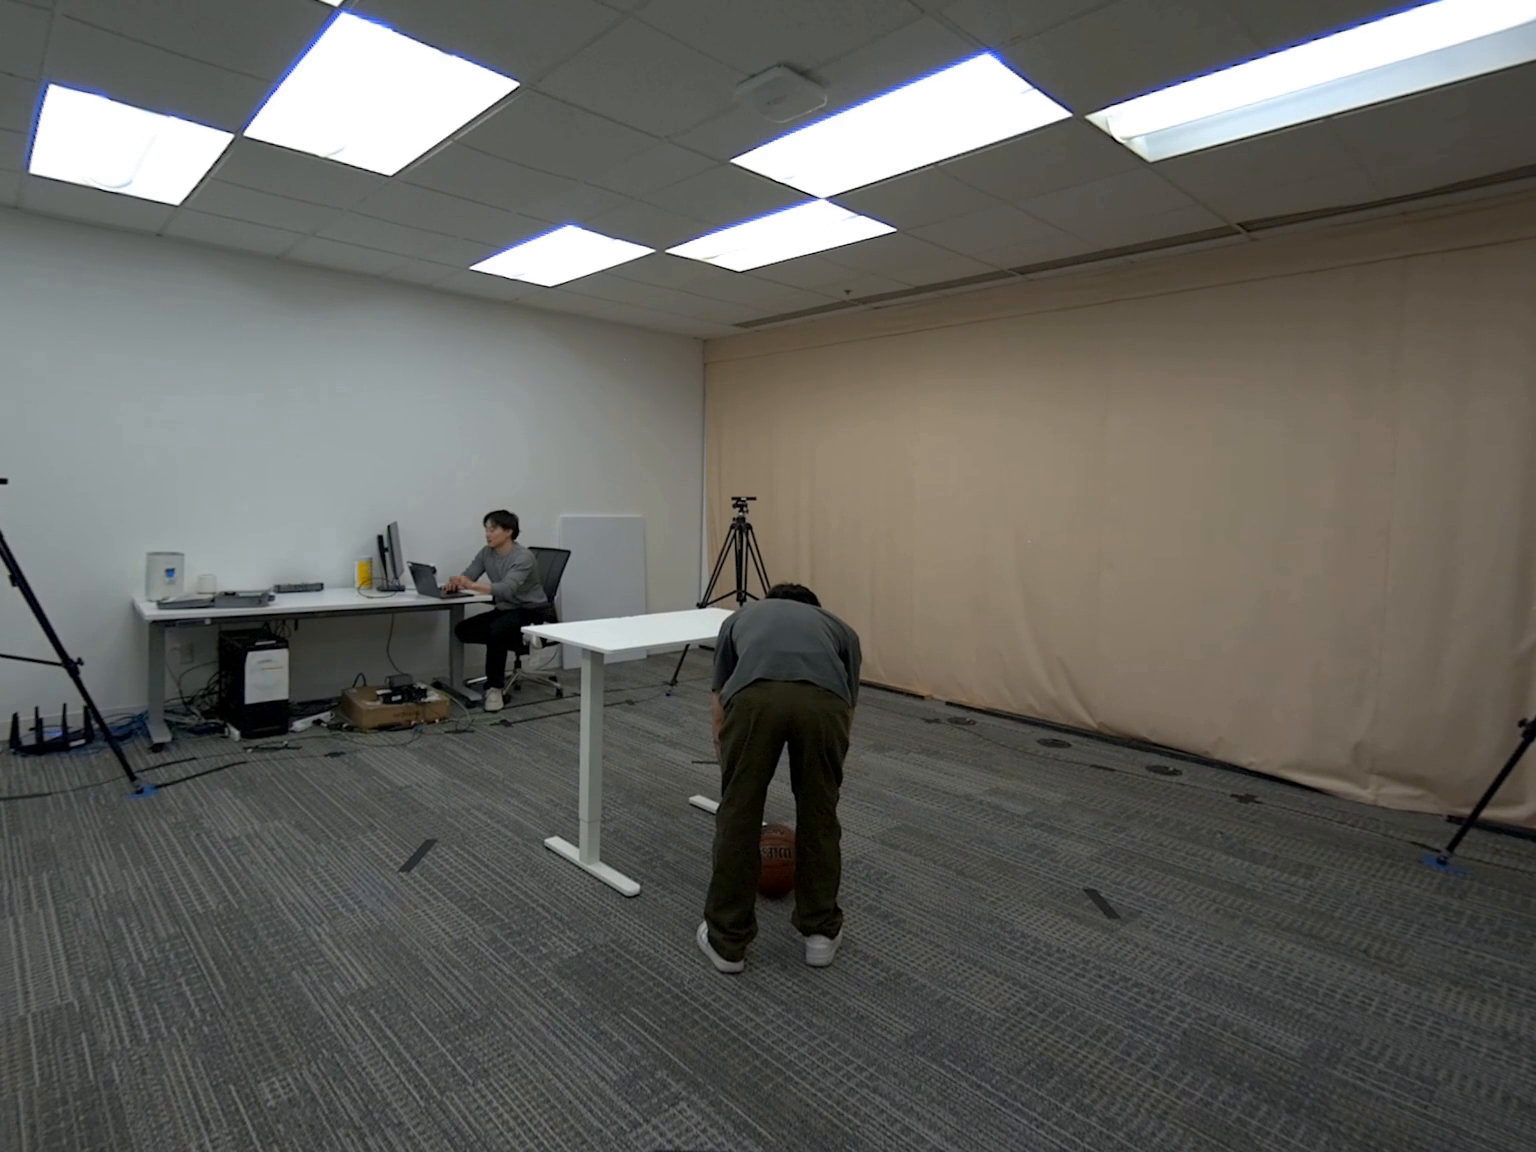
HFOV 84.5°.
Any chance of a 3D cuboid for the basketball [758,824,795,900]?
[{"bbox_3d":[0.016,1.003,2.974,0.236,0.235,0.237,1,4,-1],"label":"basketball"}]
